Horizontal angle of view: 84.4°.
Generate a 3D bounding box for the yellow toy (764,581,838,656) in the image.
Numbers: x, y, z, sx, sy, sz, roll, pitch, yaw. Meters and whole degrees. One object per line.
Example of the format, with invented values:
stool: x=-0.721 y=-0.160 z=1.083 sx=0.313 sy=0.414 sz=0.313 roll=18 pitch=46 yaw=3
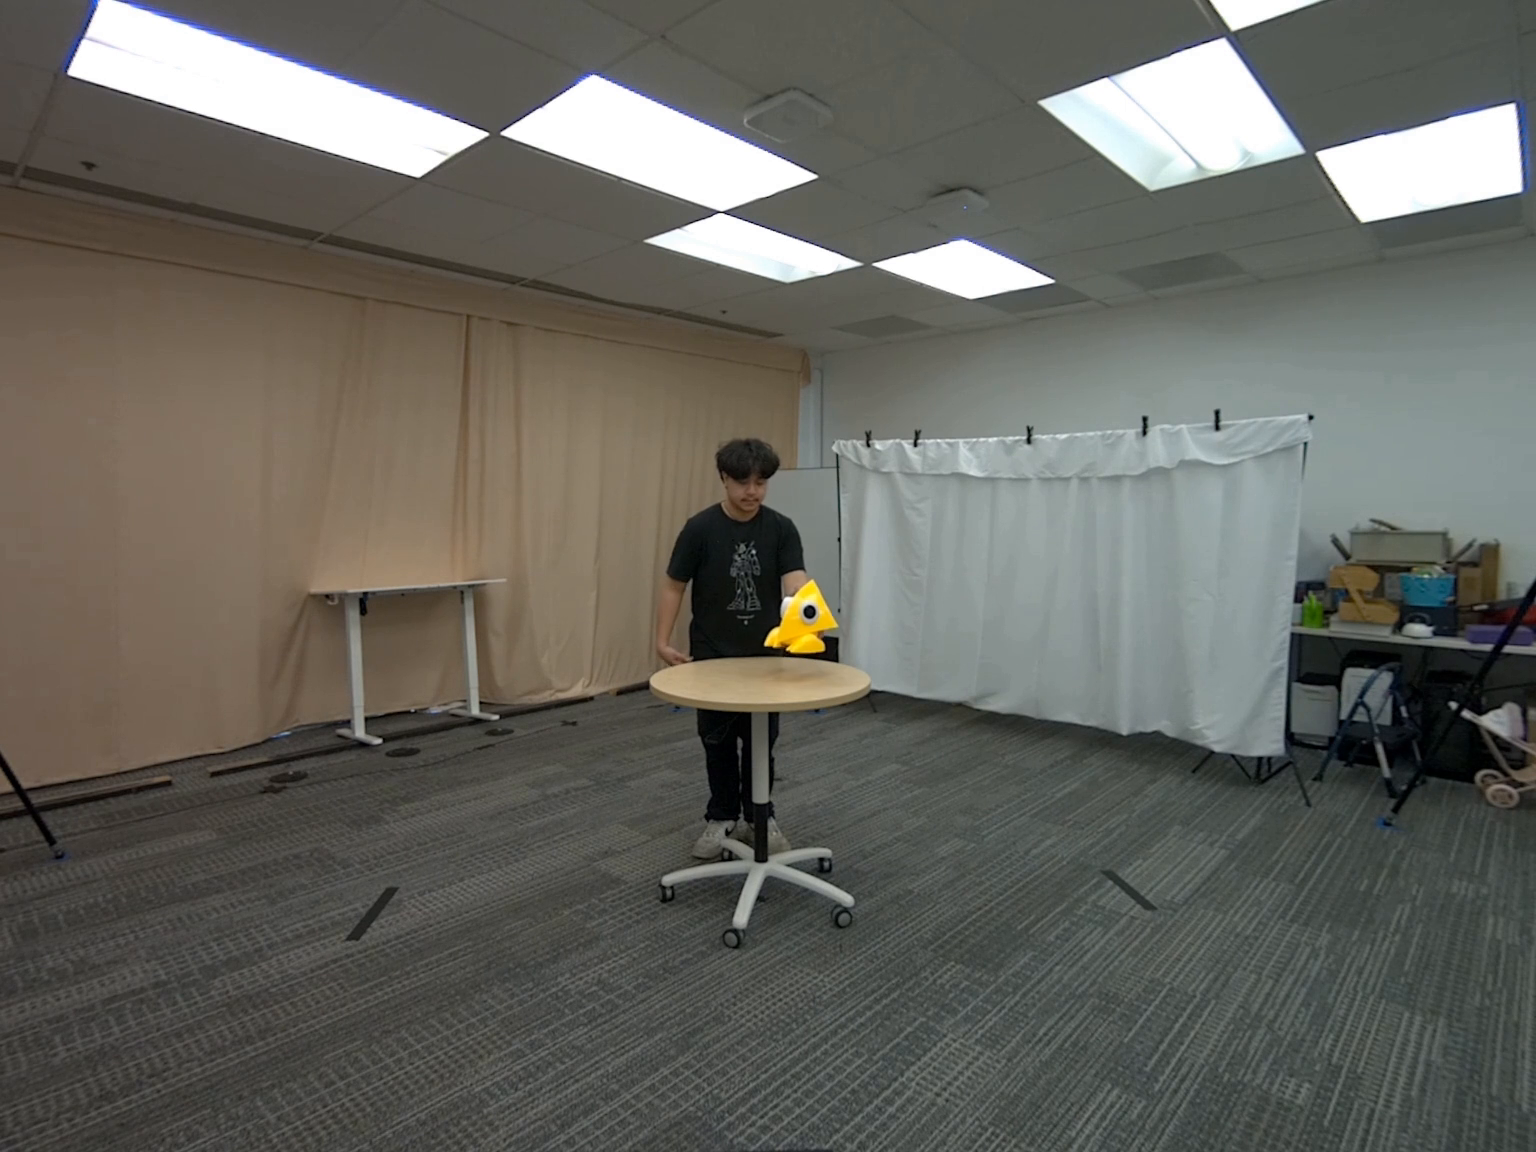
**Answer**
yellow toy: x=0.105 y=0.122 z=2.885 sx=0.187 sy=0.230 sz=0.212 roll=-1 pitch=6 yaw=-41
